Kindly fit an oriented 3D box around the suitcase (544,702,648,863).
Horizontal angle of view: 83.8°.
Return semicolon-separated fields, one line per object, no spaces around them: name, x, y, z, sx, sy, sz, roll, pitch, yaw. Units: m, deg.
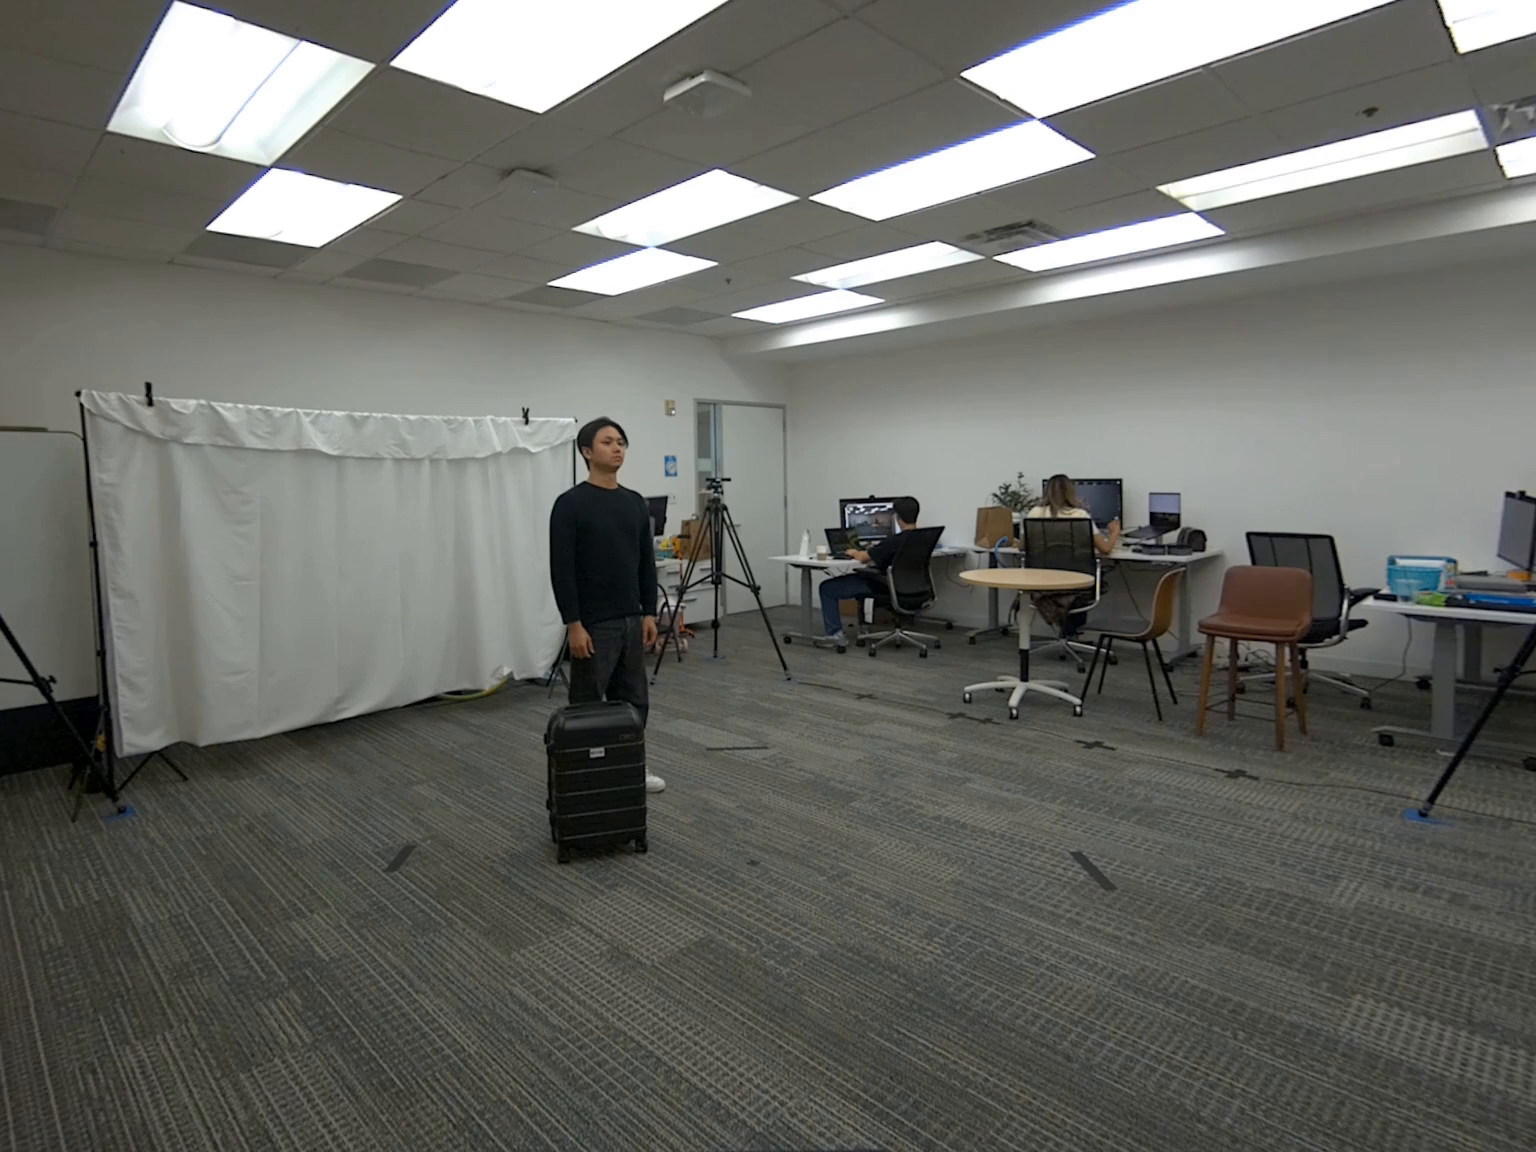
suitcase;-0.644;0.761;3.245;0.370;0.546;0.253;-3;6;-17
